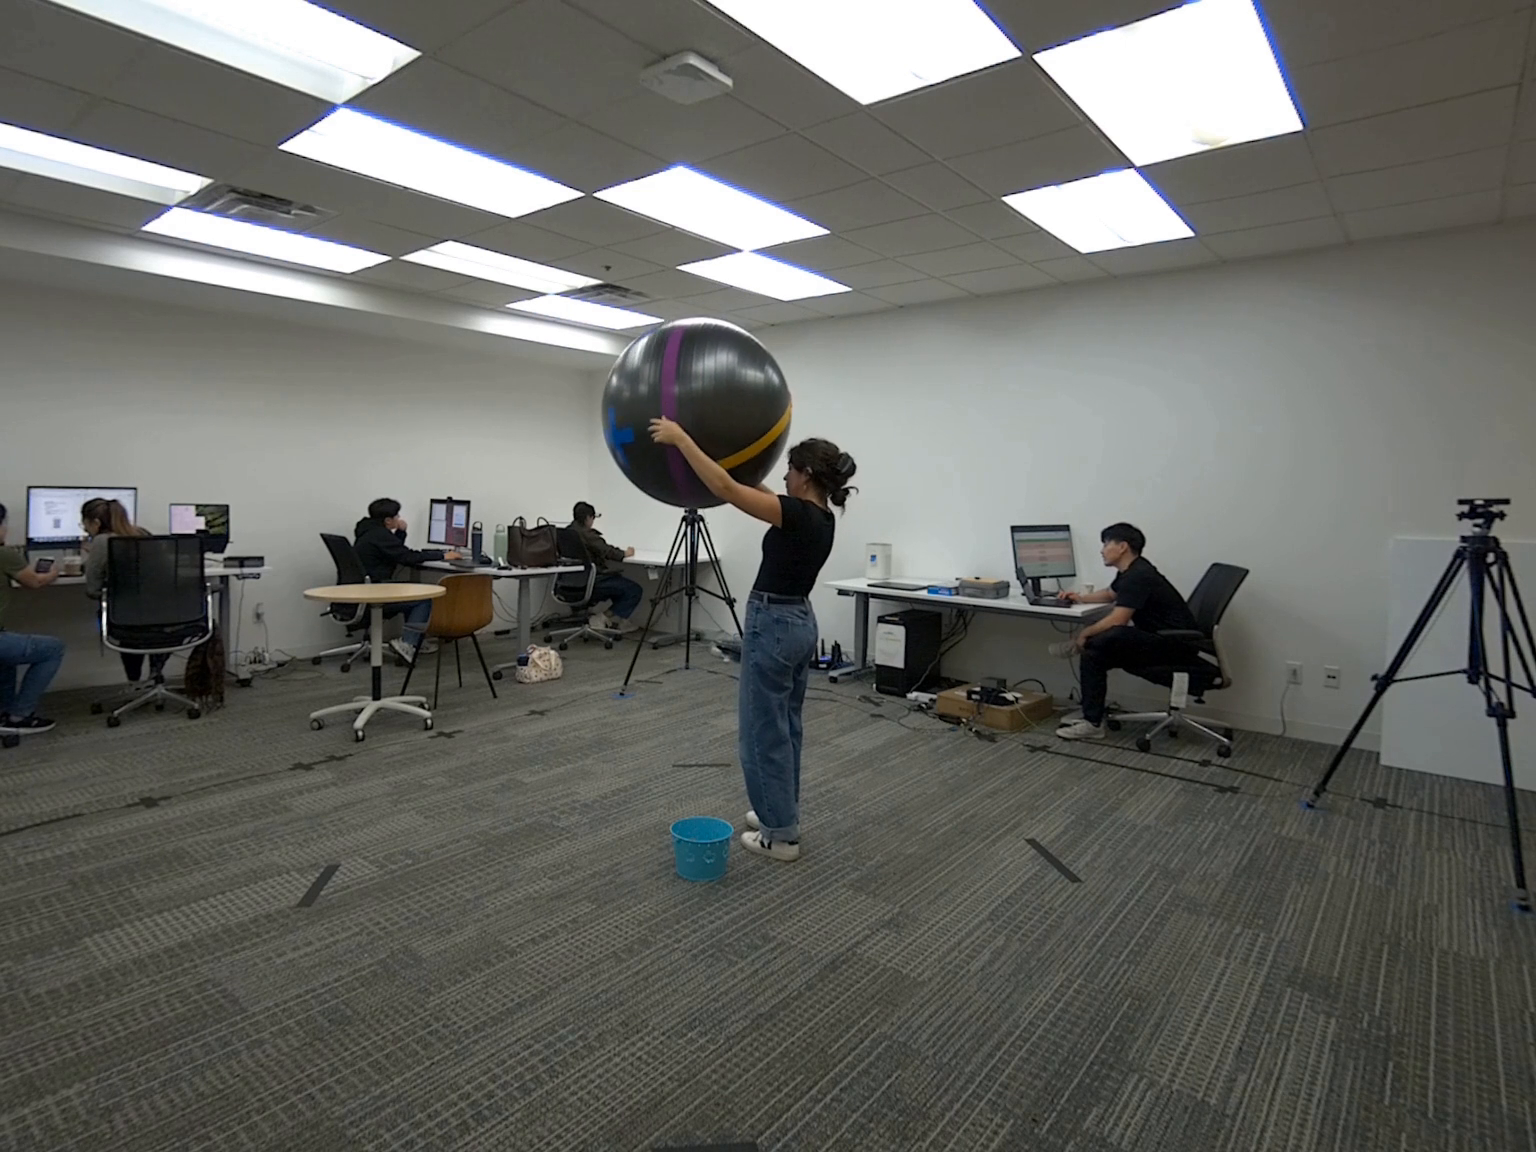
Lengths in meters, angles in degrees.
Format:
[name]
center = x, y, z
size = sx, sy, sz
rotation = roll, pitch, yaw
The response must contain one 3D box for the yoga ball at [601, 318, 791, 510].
[yoga ball]
center = -0.295, -0.635, 3.412
size = 0.757, 0.756, 0.762
rotation = 1, 4, -2
